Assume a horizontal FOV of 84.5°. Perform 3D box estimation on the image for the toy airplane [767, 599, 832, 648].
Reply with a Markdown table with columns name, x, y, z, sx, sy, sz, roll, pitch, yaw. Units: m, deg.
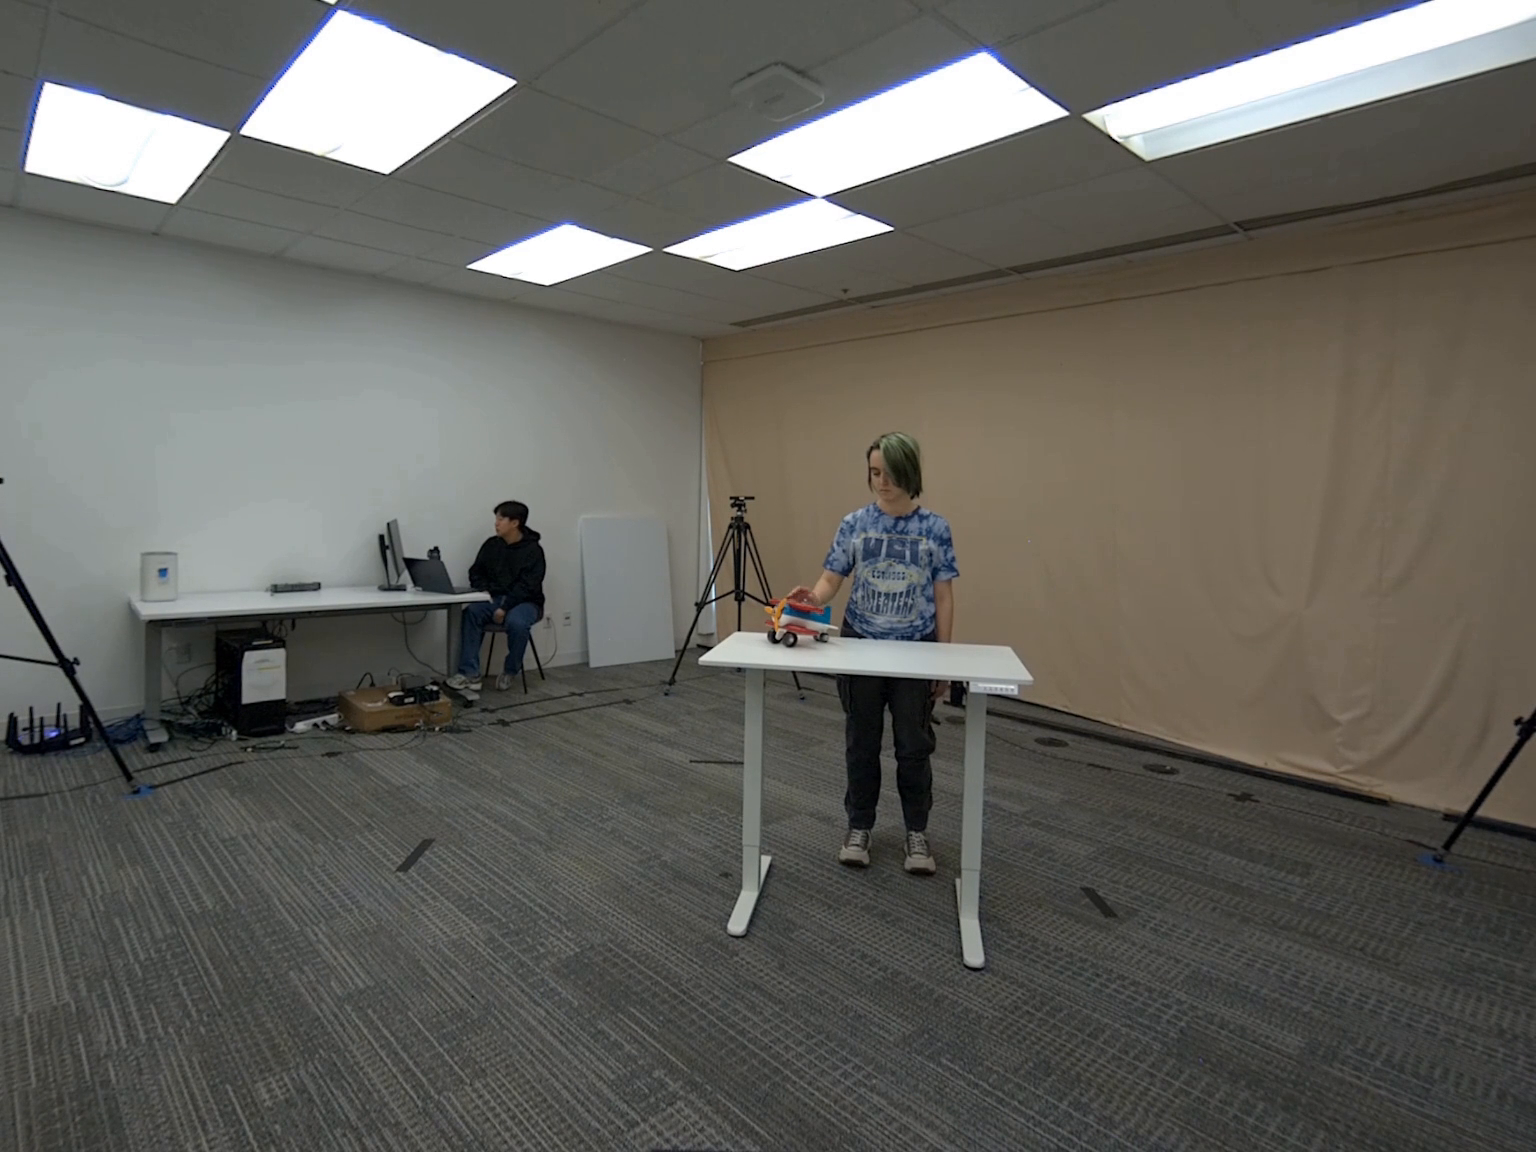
| name | x | y | z | sx | sy | sz | roll | pitch | yaw |
| --- | --- | --- | --- | --- | --- | --- | --- | --- | --- |
| toy airplane | 0.097 | 0.163 | 2.998 | 0.256 | 0.156 | 0.254 | 3 | 5 | 28 |
